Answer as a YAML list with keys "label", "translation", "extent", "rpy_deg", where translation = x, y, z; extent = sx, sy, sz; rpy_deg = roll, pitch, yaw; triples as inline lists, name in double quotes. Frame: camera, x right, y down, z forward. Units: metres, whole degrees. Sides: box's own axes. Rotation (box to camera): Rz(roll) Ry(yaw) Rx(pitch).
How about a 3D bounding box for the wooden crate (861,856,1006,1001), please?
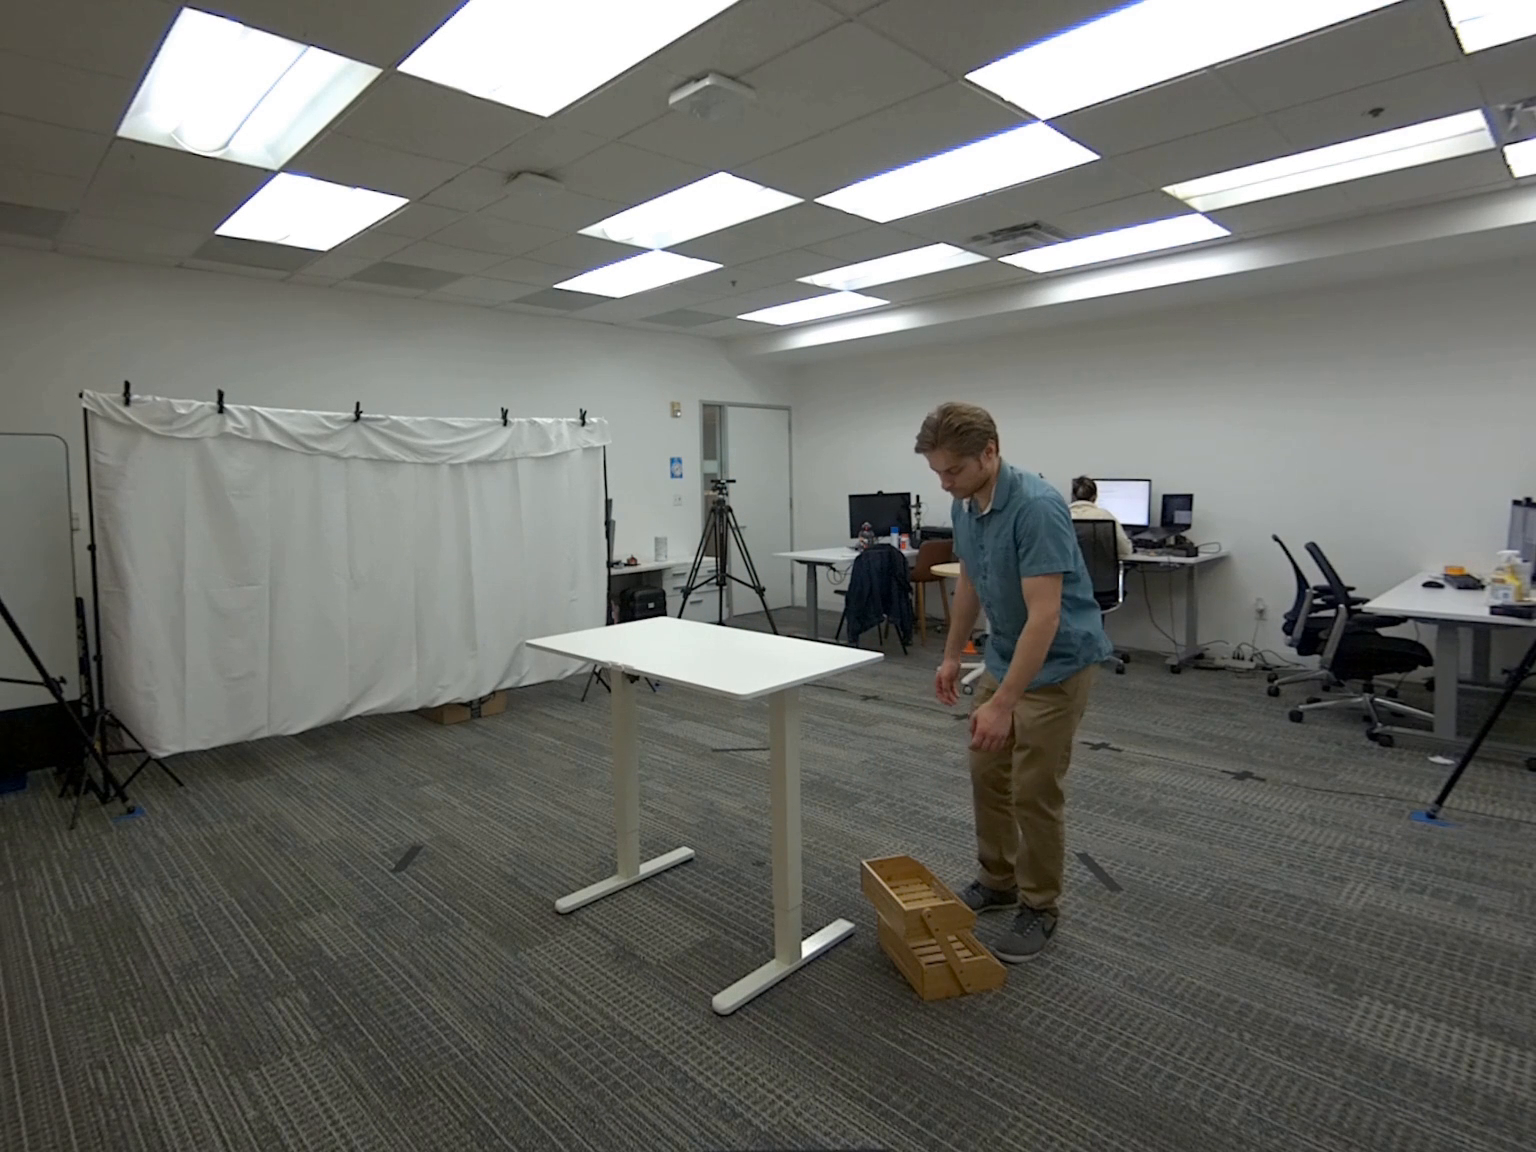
- label: "wooden crate"
  translation: [0.474, 0.979, 2.436]
  extent: [0.298, 0.272, 0.330]
  rpy_deg: [-3, 6, -15]
